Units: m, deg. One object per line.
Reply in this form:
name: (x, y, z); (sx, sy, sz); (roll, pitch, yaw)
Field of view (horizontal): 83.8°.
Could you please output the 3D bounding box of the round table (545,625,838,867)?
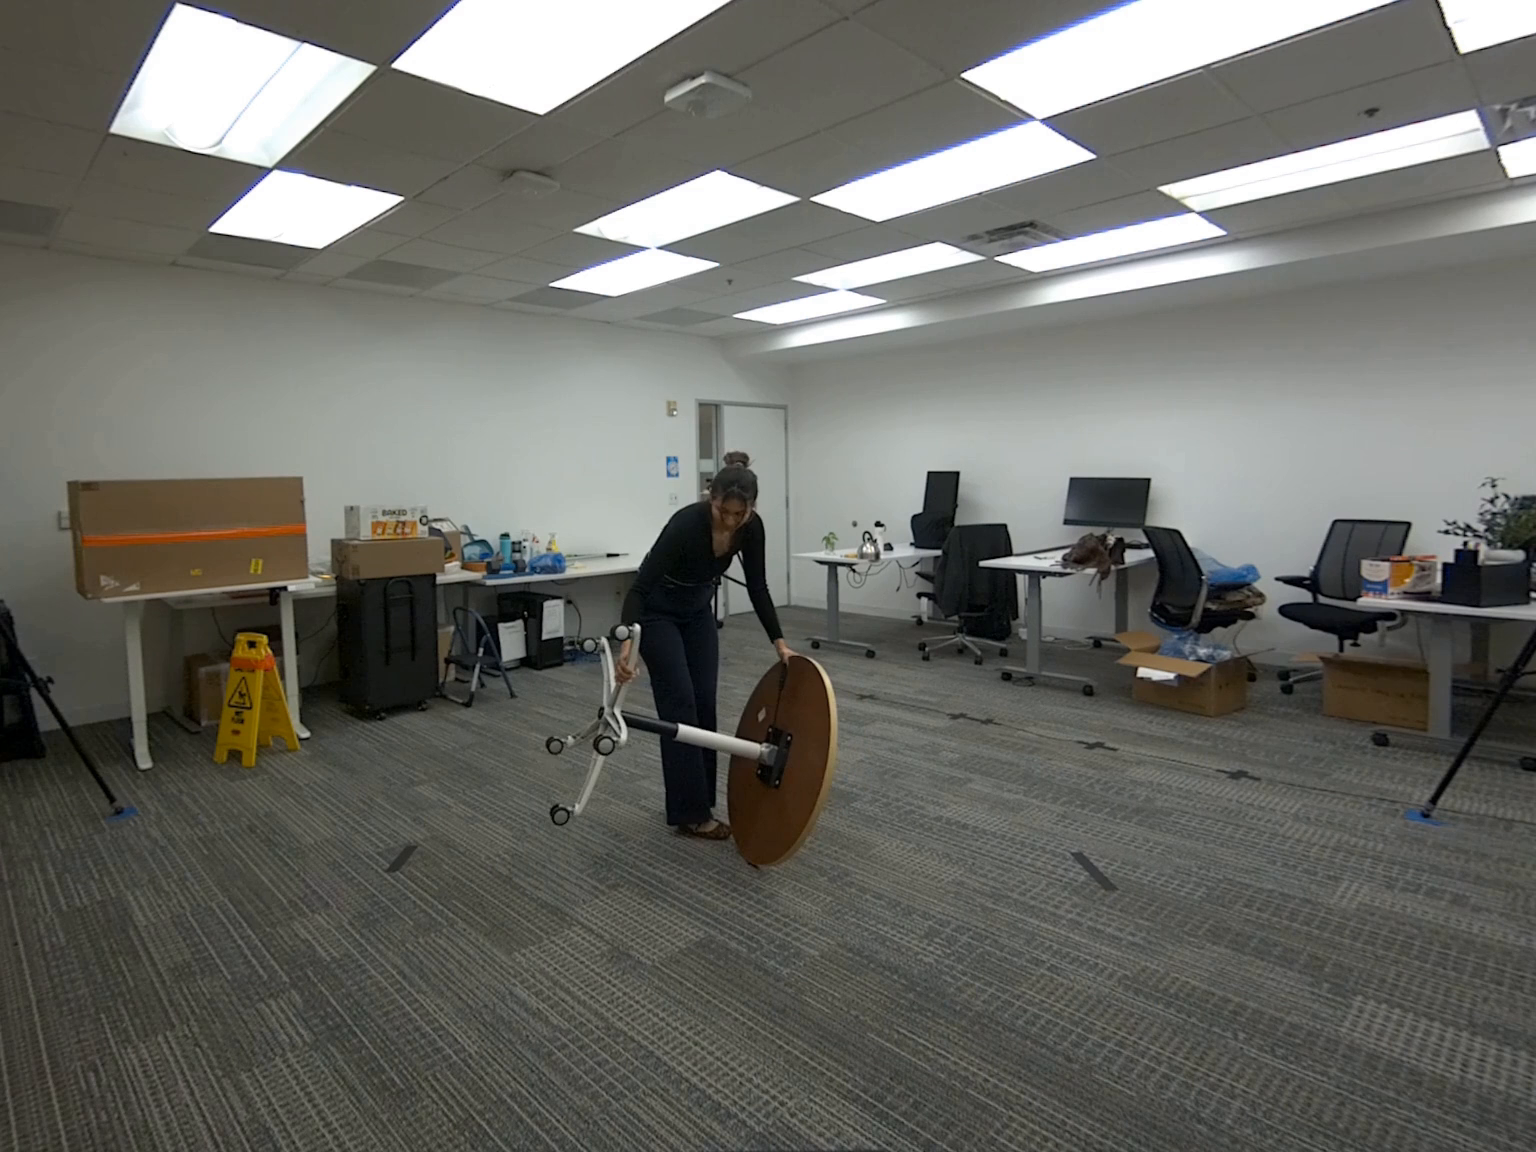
round table: (-0.300, 0.569, 3.035); (0.775, 0.765, 0.781); (18, -3, -22)
